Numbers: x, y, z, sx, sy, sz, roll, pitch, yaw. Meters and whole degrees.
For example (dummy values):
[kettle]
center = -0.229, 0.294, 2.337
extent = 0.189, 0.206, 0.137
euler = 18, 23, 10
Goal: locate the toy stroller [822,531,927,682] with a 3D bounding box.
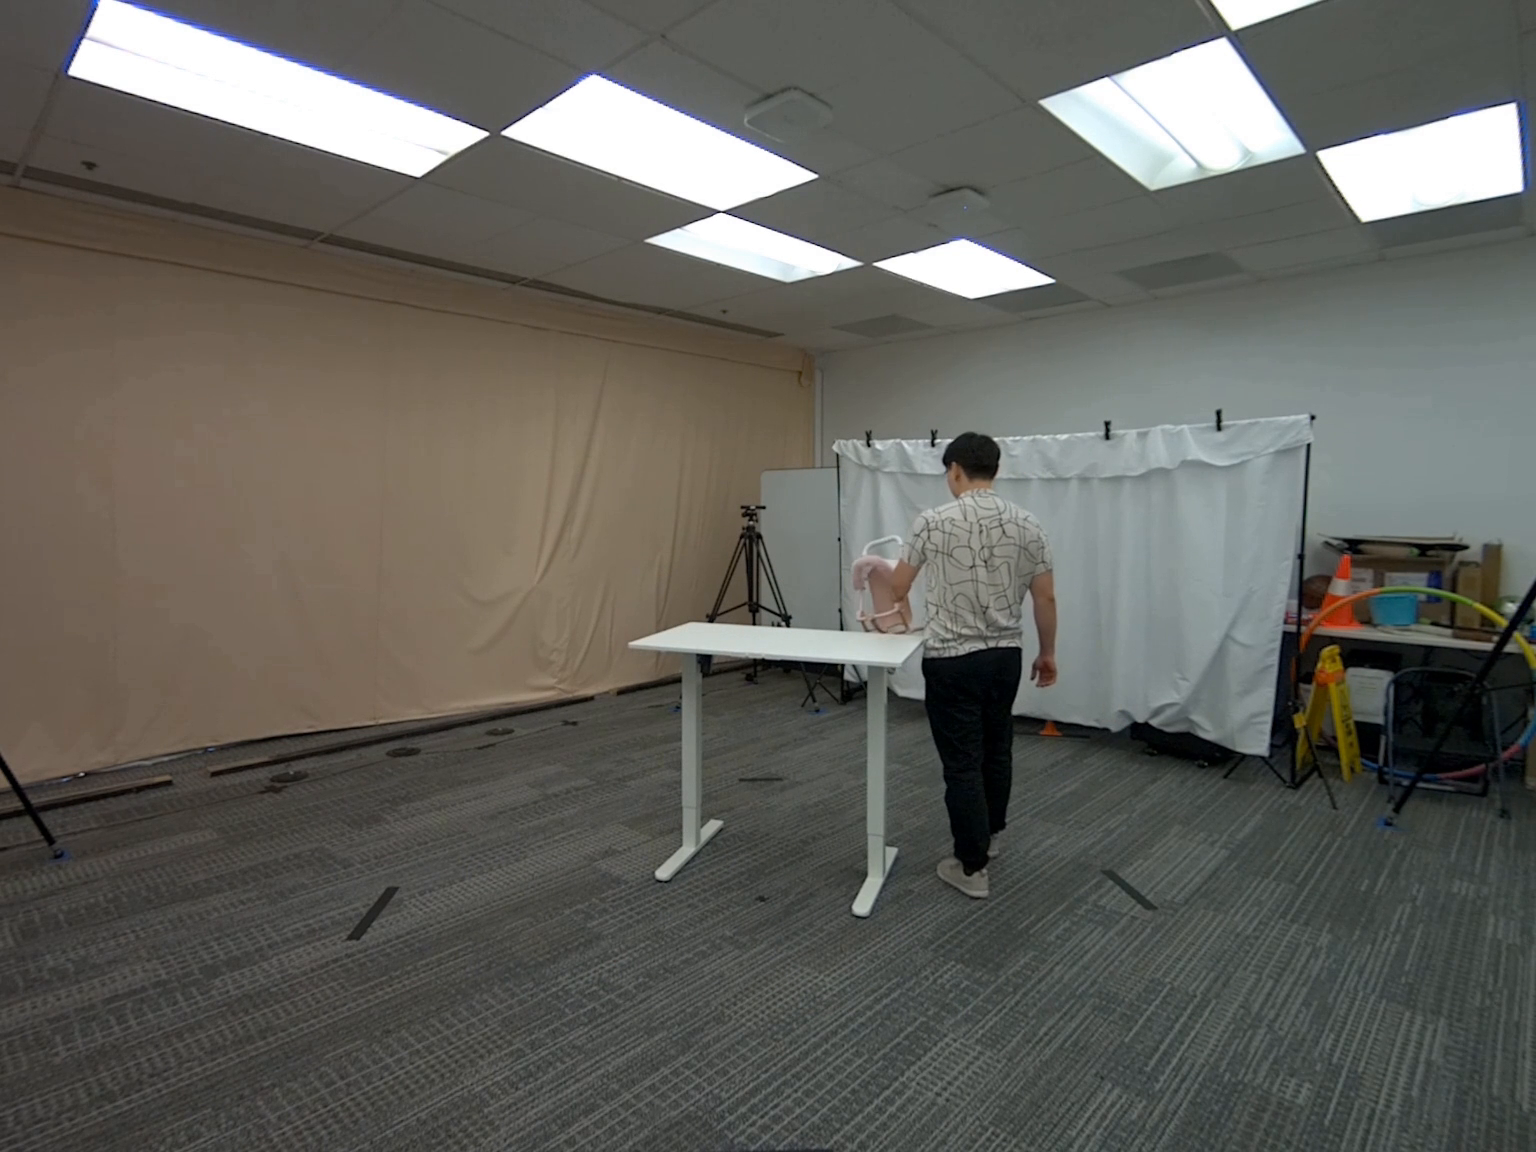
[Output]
[toy stroller]
center = 0.516, 0.124, 3.657
extent = 0.288, 0.533, 0.334
euler = -16, 4, 39
